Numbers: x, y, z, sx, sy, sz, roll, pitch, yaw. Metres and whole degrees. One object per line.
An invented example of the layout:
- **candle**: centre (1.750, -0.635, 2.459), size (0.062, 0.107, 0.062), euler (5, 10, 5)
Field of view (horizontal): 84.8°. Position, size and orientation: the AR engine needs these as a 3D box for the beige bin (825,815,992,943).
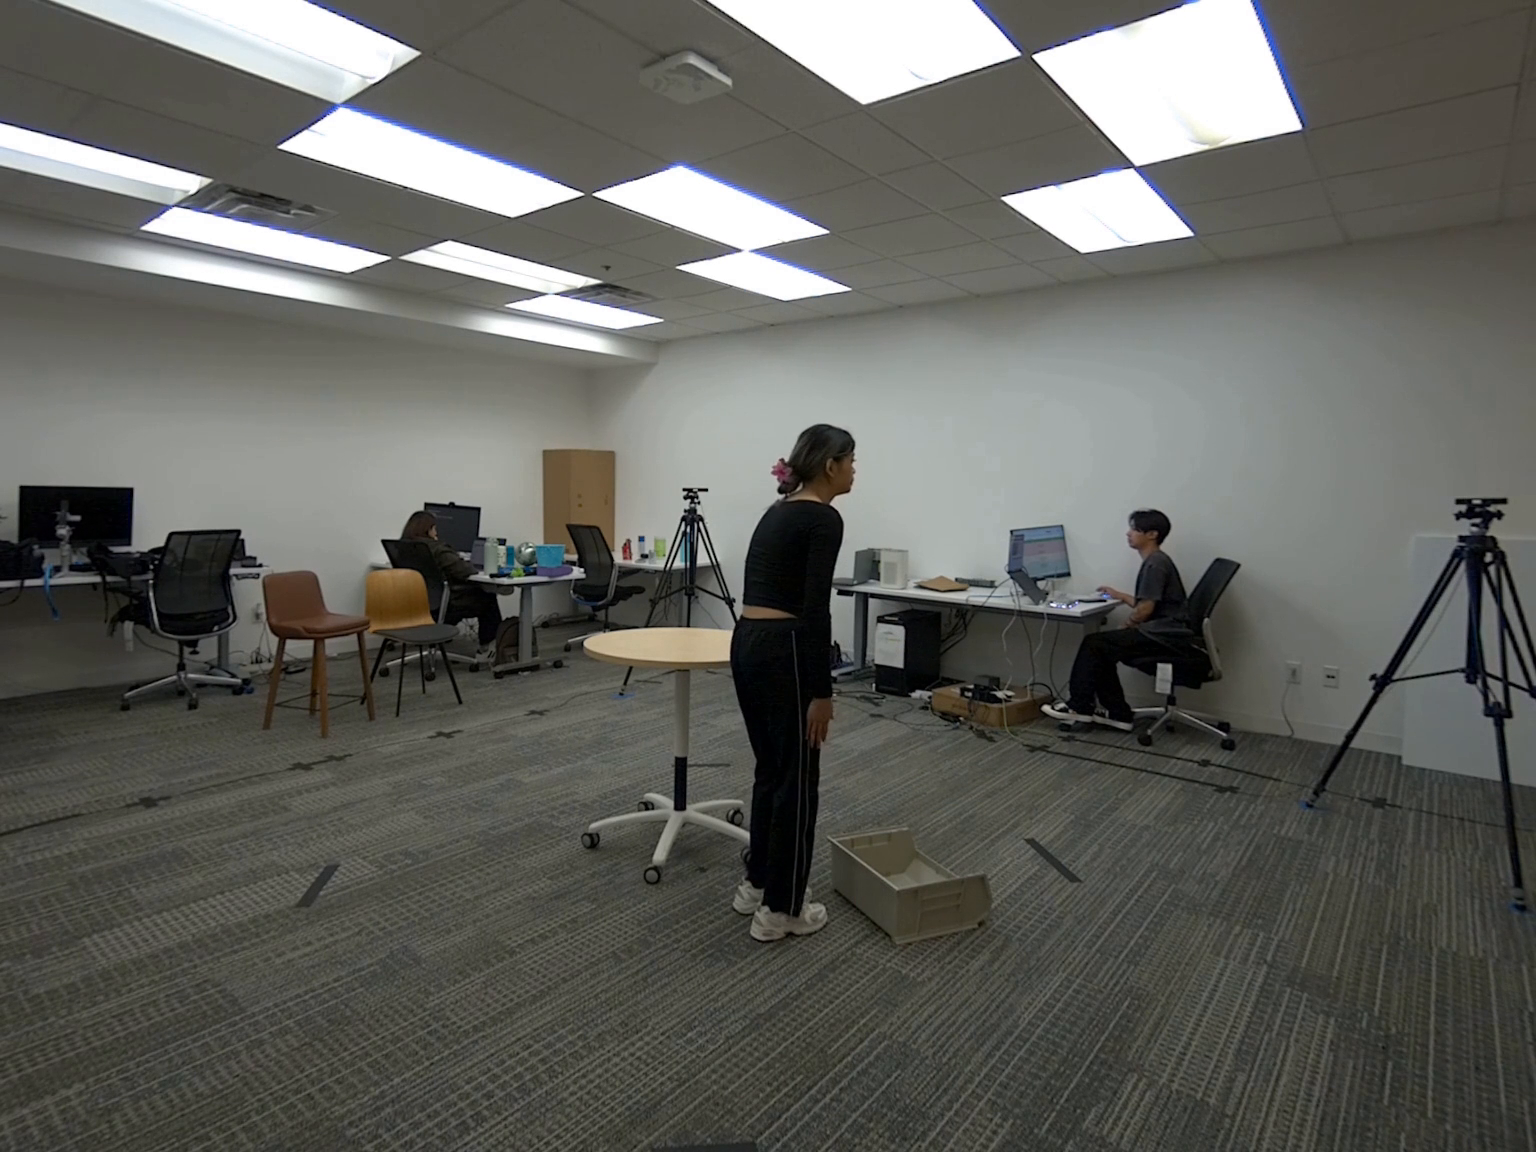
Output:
- **beige bin**: centre (0.465, 1.012, 2.864), size (0.369, 0.188, 0.434), euler (-2, 6, -24)
